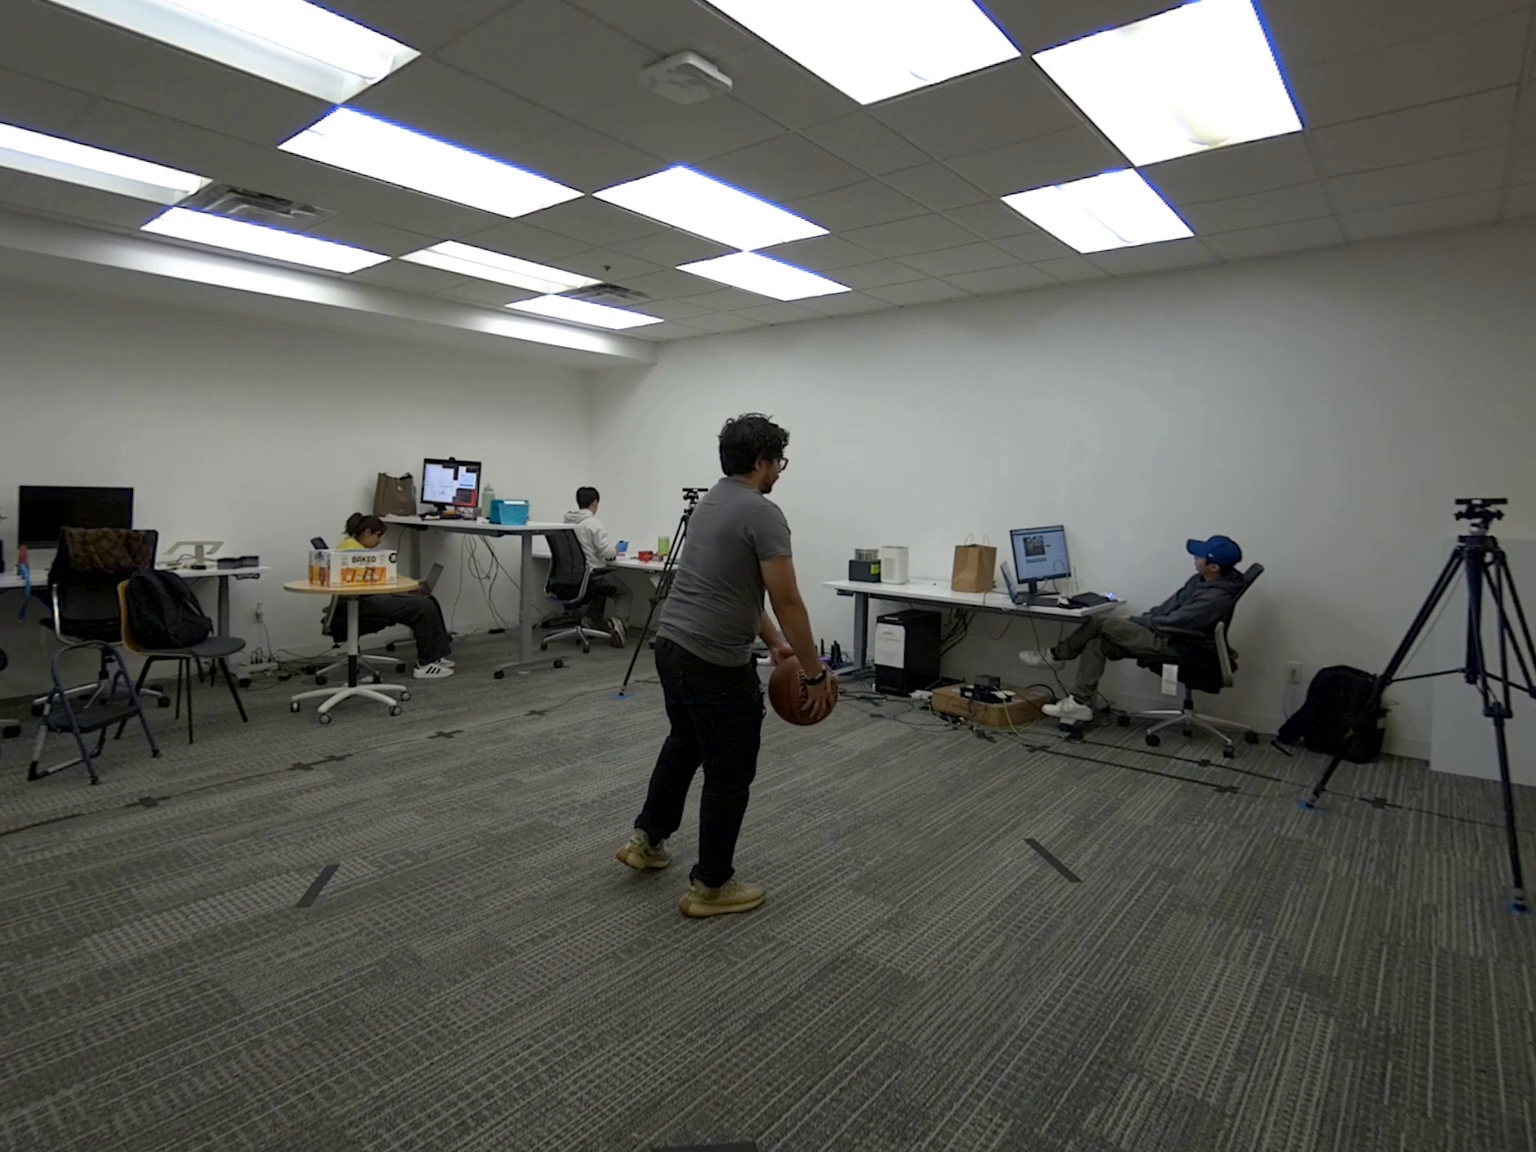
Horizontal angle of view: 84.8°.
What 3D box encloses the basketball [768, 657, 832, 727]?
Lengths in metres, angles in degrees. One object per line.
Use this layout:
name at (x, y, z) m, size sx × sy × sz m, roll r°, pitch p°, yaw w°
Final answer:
basketball at (0.109, 0.380, 2.886) m, size 0.235 × 0.235 × 0.237 m, roll 1°, pitch 4°, yaw -2°
